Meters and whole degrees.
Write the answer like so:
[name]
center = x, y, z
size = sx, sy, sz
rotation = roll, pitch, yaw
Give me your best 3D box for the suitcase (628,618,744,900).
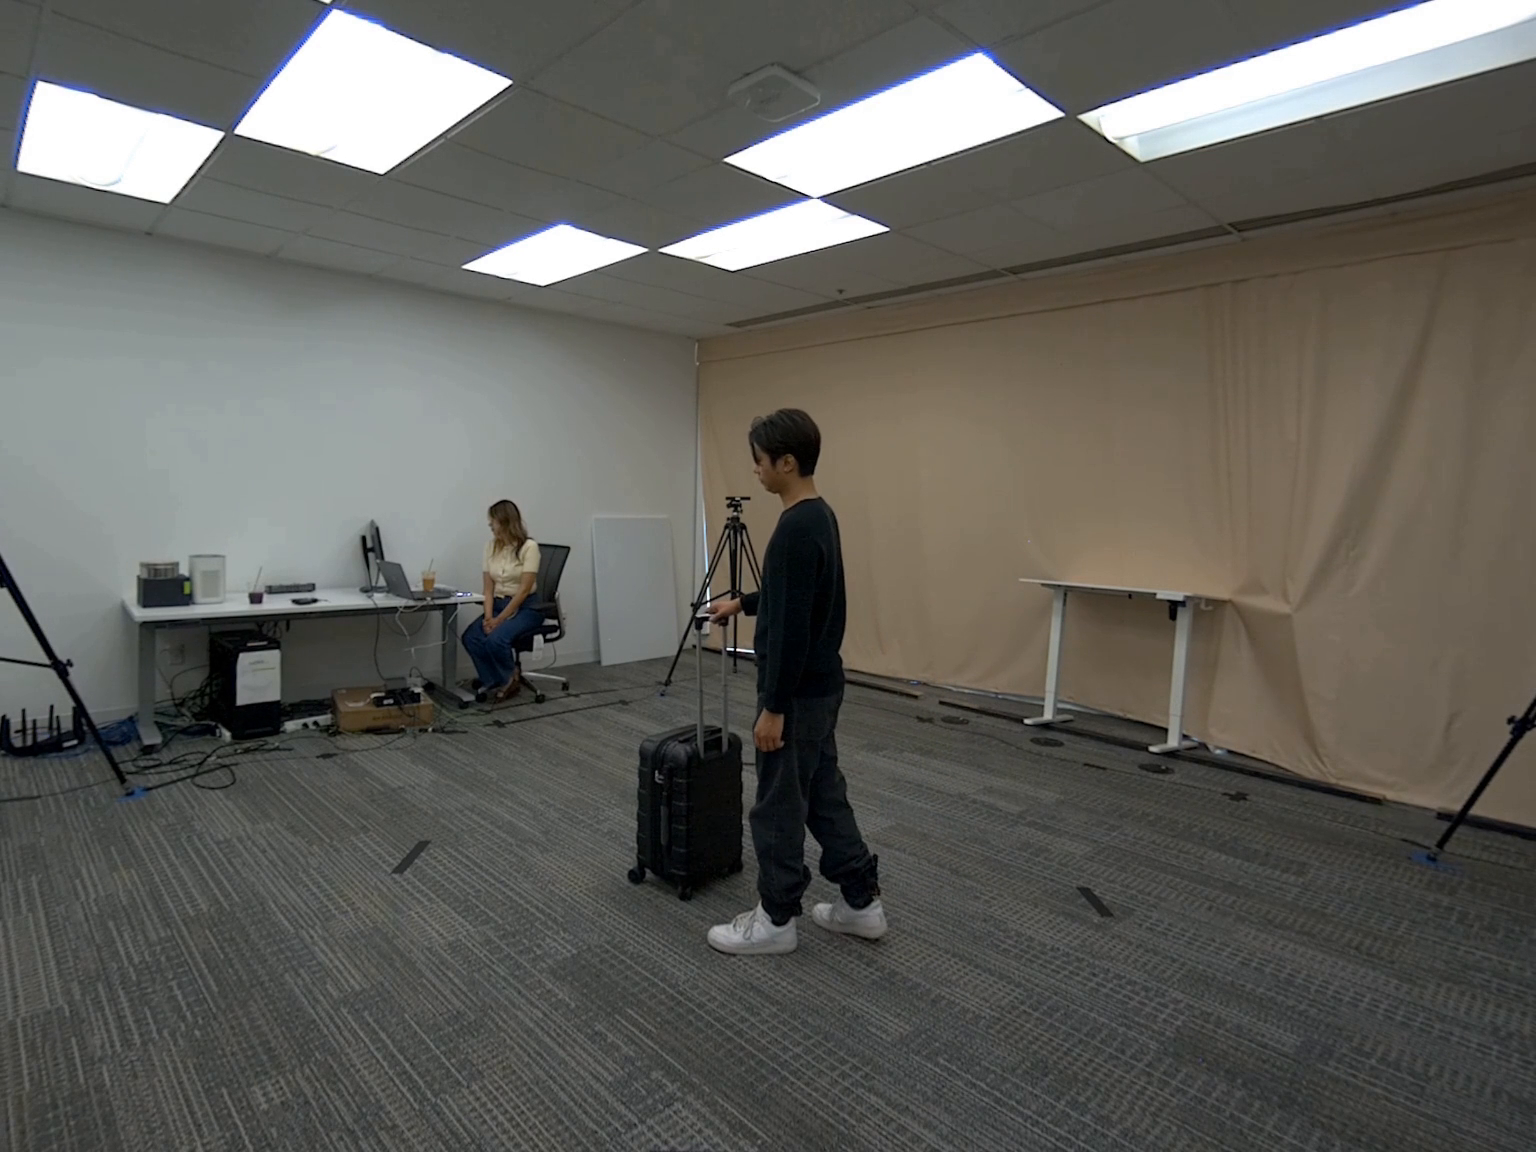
[suitcase]
center = -0.292, 0.631, 3.060
size = 0.263, 0.977, 0.376
rotation = 2, 3, 37
